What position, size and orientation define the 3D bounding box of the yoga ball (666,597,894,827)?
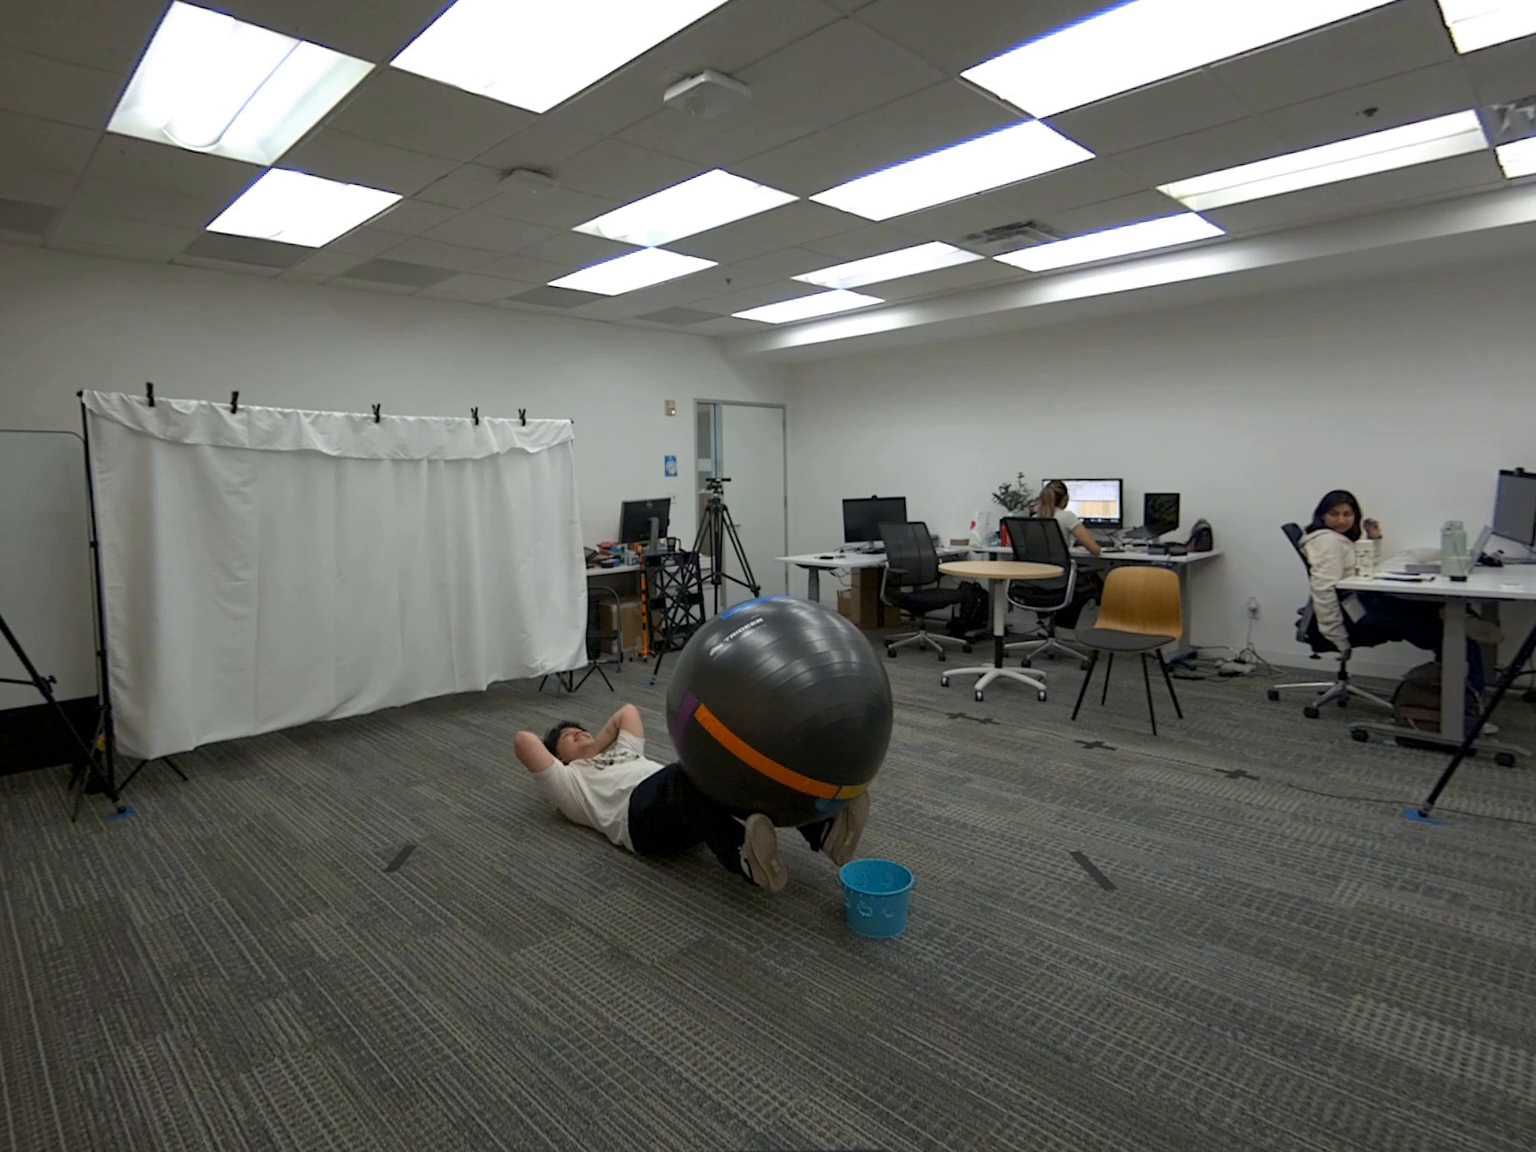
[{"bbox_3d":[0.038,0.439,2.881,0.757,0.755,0.762,-1,5,-2],"label":"yoga ball"}]
